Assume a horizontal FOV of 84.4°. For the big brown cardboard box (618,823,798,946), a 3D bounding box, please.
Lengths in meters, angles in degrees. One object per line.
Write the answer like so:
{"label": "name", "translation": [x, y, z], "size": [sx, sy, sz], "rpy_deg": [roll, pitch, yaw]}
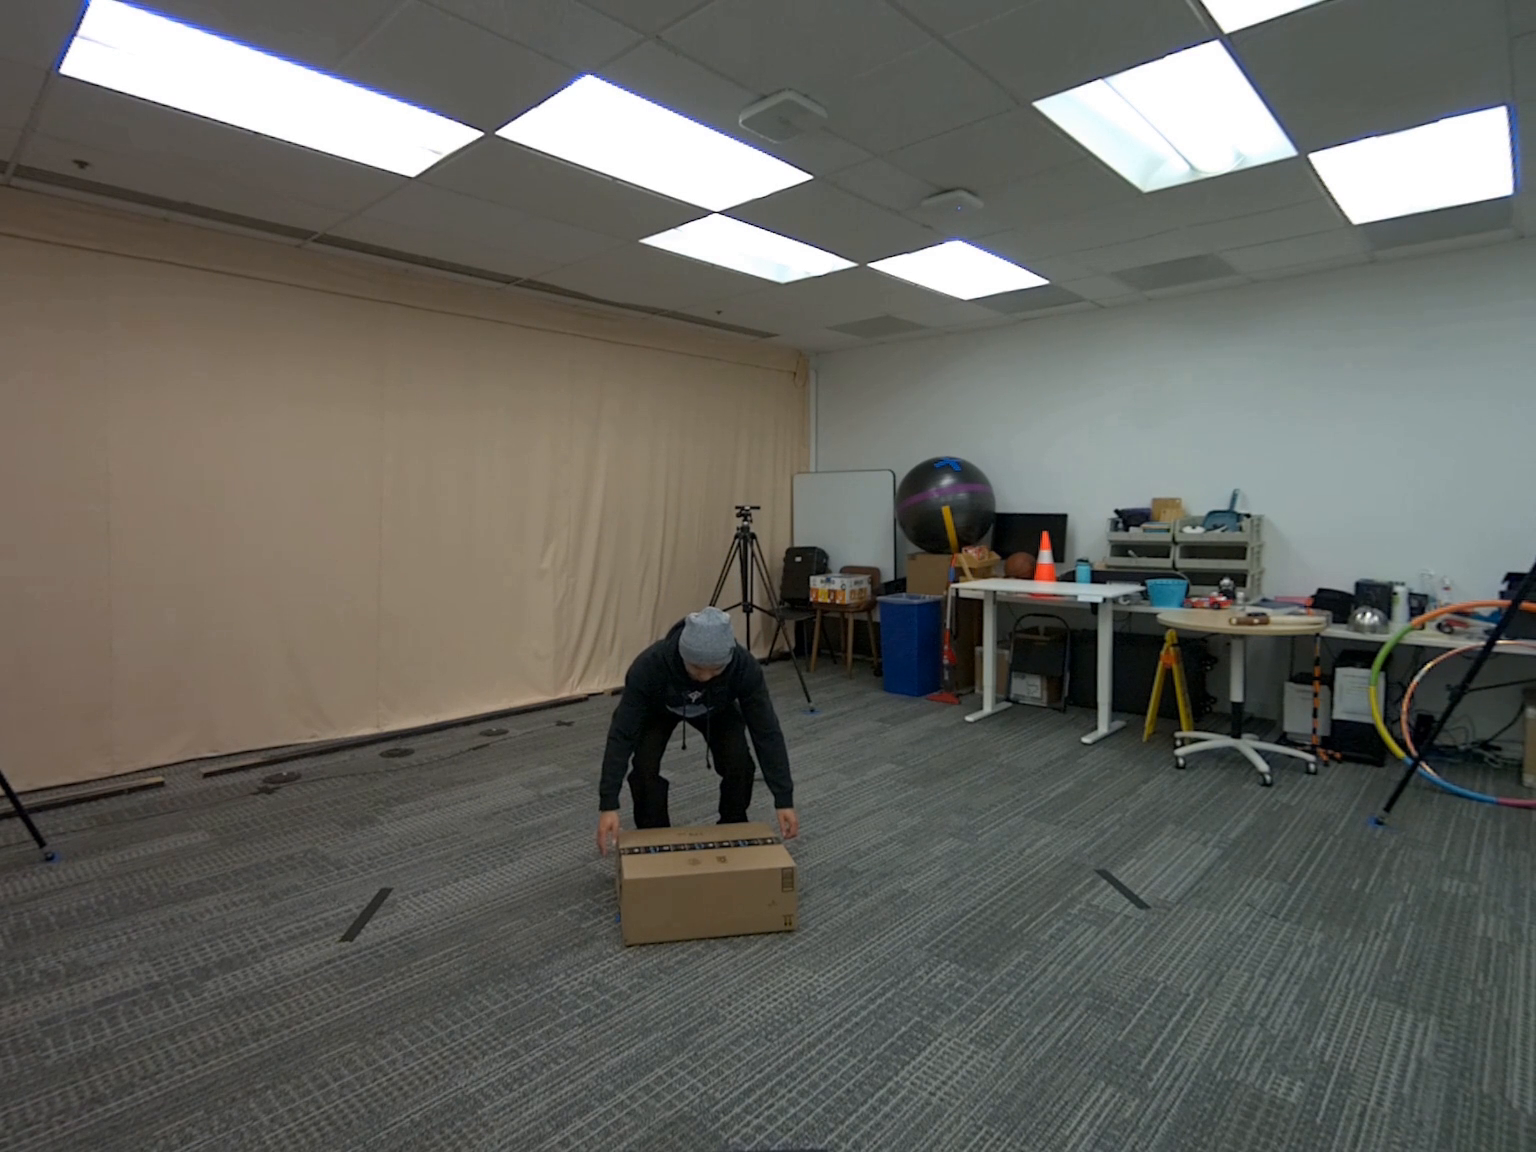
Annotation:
{"label": "big brown cardboard box", "translation": [-0.228, 1.043, 2.896], "size": [0.583, 0.233, 0.423], "rpy_deg": [-2, 4, -10]}
